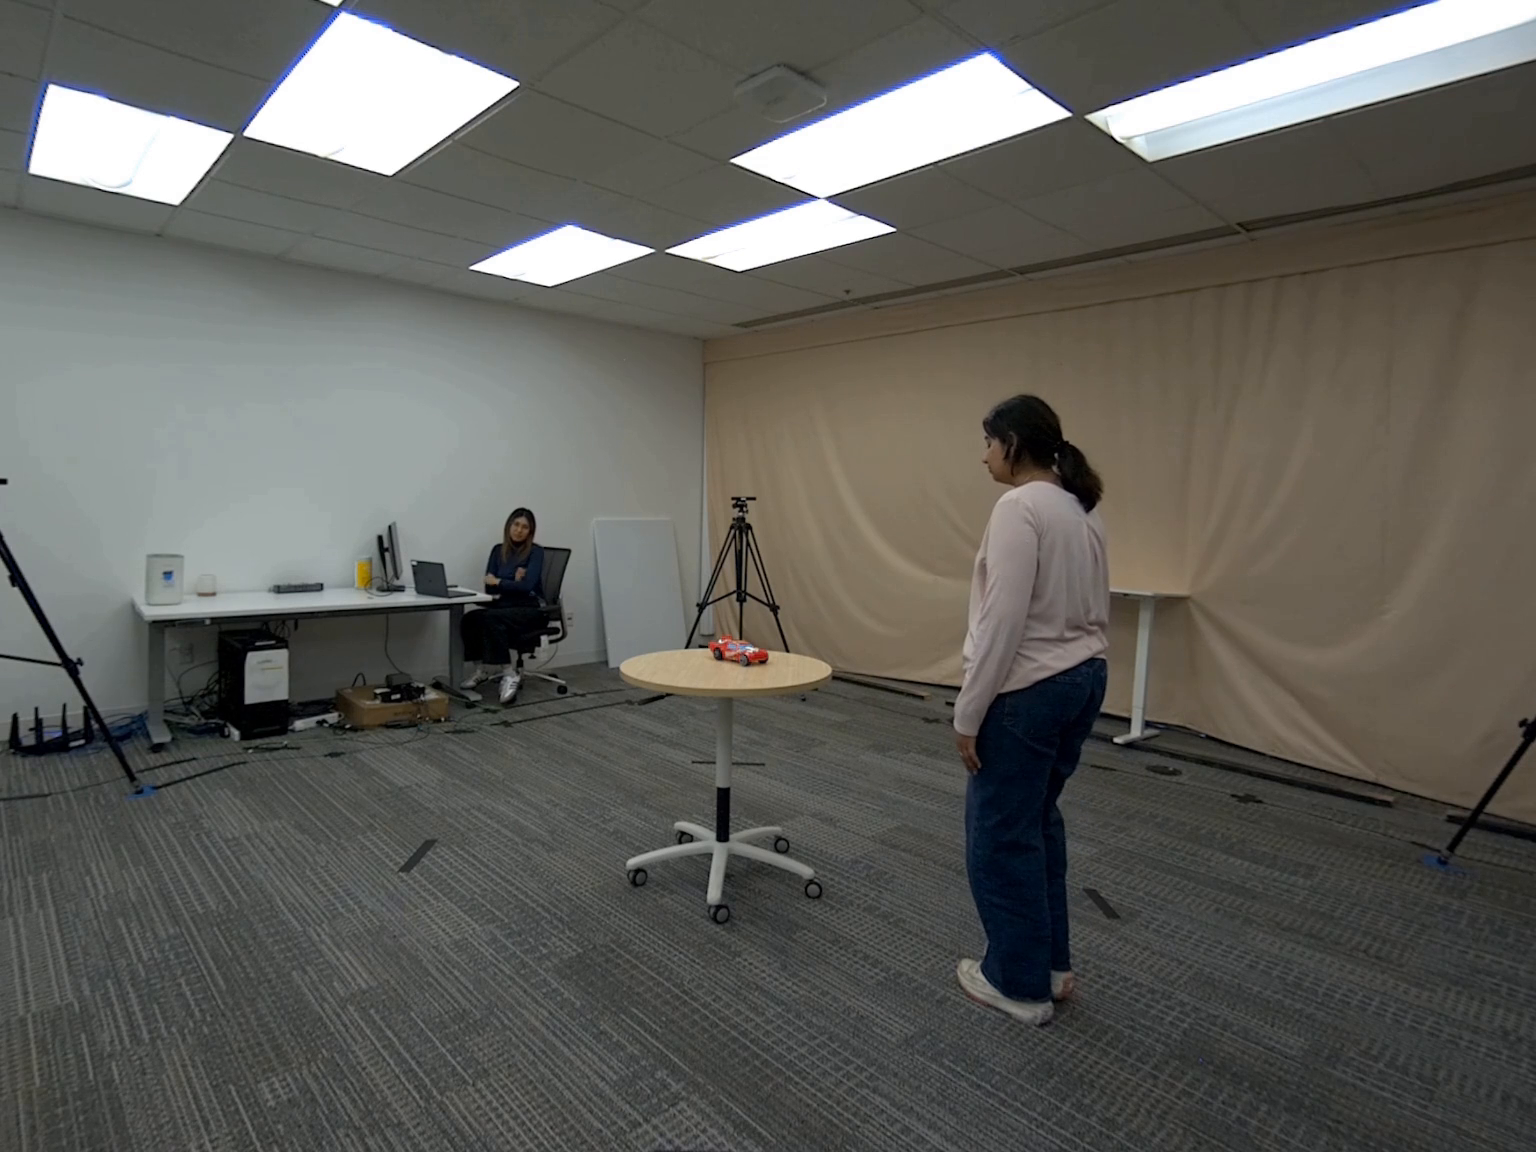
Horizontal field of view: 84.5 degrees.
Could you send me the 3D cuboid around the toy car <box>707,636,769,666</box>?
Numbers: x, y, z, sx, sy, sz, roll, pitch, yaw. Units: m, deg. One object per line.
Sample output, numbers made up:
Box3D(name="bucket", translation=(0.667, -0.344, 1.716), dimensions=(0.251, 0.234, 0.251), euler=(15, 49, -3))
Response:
Box3D(name="toy car", translation=(-0.121, 0.288, 3.162), dimensions=(0.127, 0.082, 0.262), euler=(-4, 18, -42))
